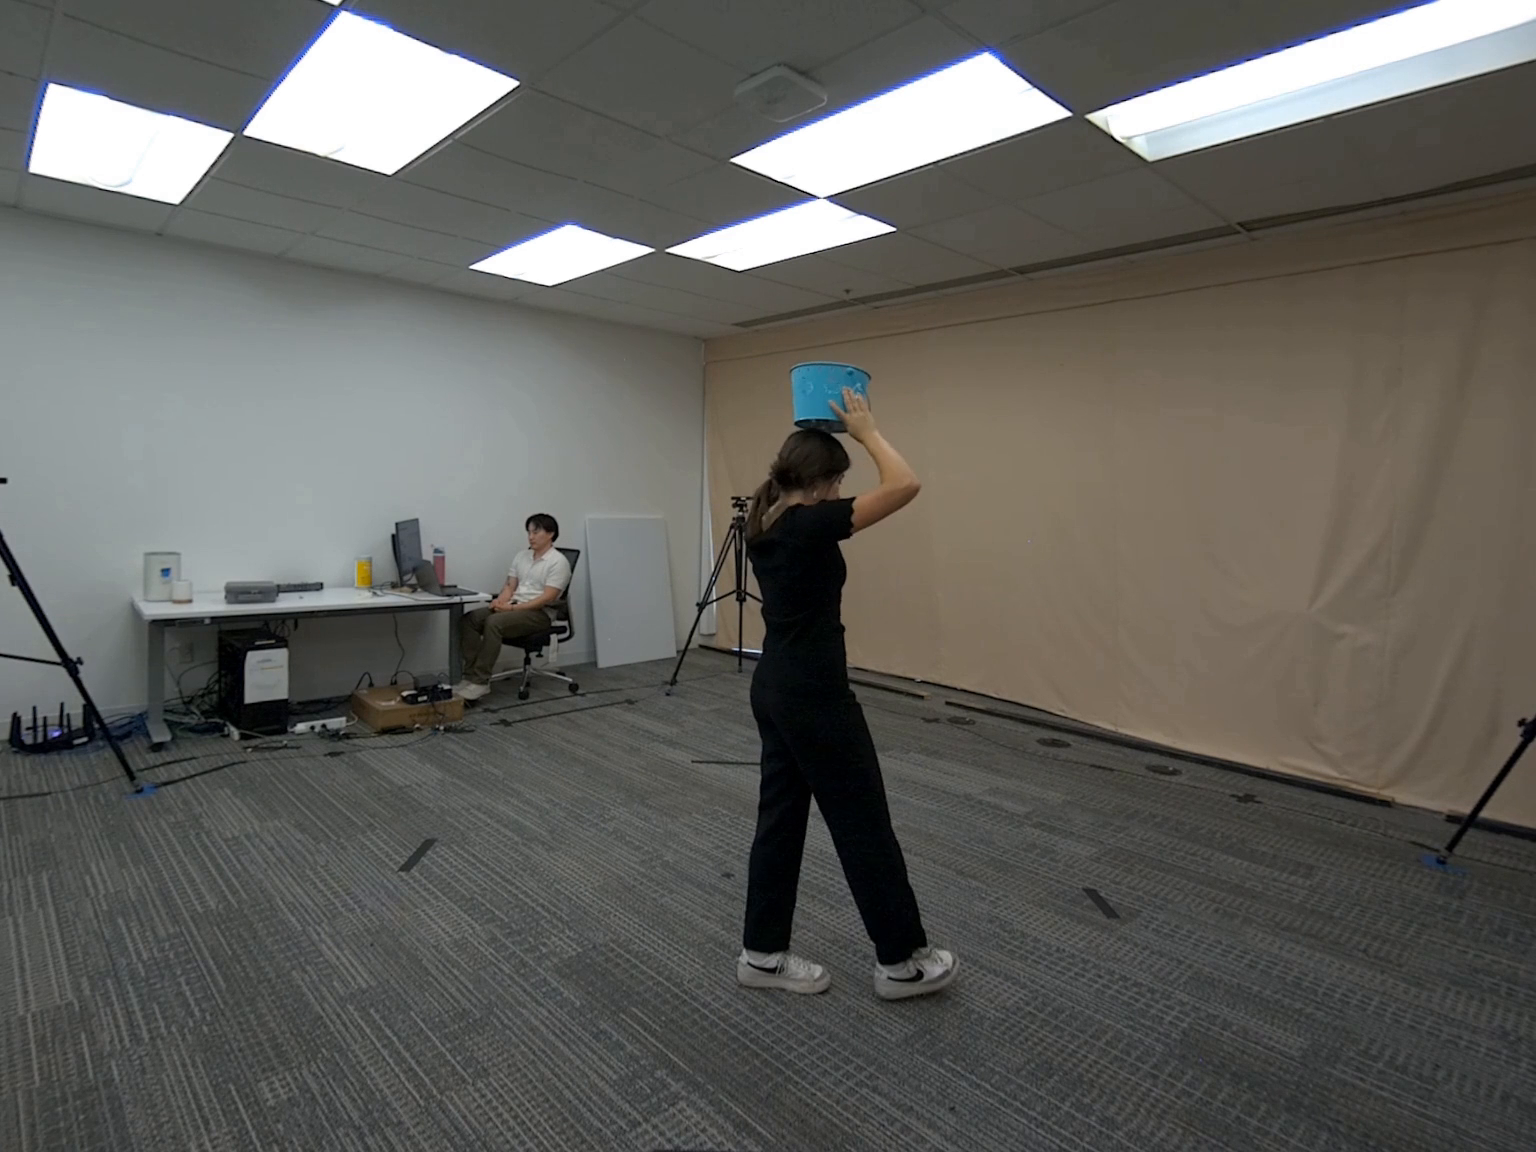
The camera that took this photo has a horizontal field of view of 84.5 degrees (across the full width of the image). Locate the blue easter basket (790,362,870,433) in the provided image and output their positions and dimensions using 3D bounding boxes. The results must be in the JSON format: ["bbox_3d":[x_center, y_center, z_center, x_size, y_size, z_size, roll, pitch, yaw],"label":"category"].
[{"bbox_3d":[0.180,-0.500,2.391,0.243,0.156,0.243,6,-2,-1],"label":"blue easter basket"}]
